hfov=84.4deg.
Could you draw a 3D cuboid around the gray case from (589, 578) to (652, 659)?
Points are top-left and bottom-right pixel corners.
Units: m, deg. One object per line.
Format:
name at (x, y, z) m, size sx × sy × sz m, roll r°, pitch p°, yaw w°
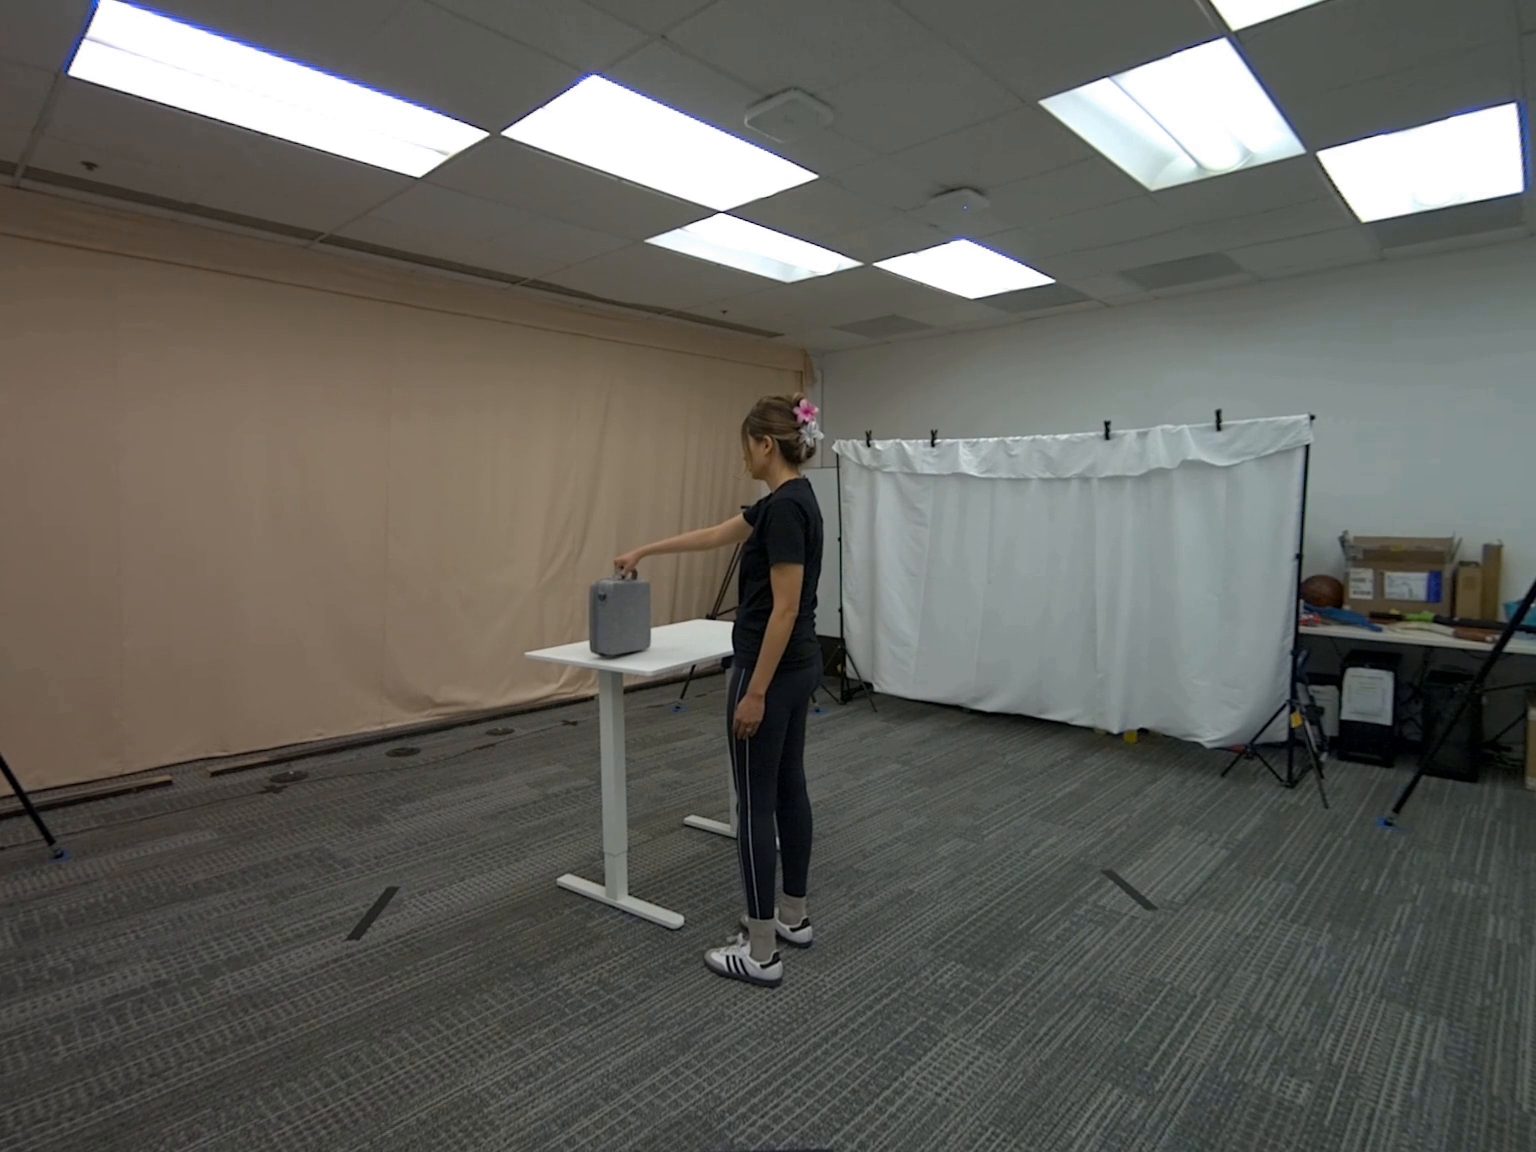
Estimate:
gray case at (-0.509, 0.136, 2.924) m, size 0.107 × 0.260 × 0.250 m, roll 3°, pitch 2°, yaw 27°
